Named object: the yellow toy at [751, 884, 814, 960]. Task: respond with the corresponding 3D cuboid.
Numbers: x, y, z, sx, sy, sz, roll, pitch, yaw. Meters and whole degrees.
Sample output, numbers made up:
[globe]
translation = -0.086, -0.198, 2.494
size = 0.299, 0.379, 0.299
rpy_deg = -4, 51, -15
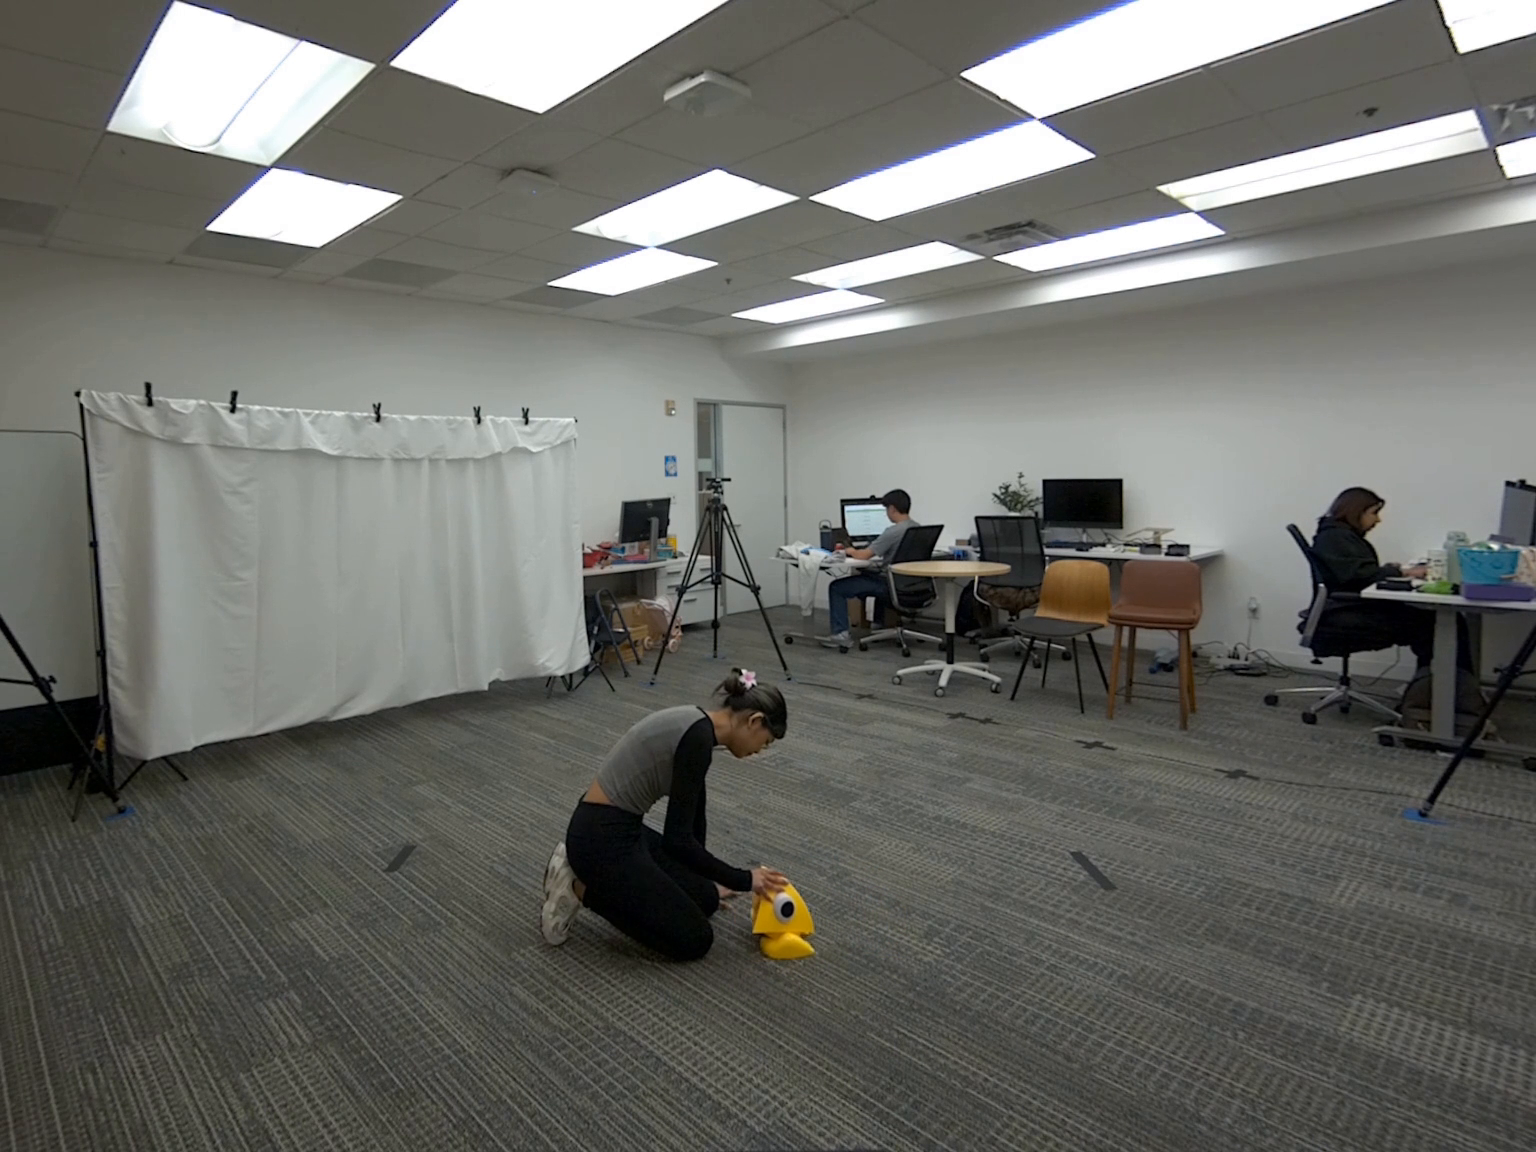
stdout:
[yellow toy]
translation = 0.046, 0.983, 2.578
size = 0.193, 0.230, 0.205
rpy_deg = -1, 5, 0
